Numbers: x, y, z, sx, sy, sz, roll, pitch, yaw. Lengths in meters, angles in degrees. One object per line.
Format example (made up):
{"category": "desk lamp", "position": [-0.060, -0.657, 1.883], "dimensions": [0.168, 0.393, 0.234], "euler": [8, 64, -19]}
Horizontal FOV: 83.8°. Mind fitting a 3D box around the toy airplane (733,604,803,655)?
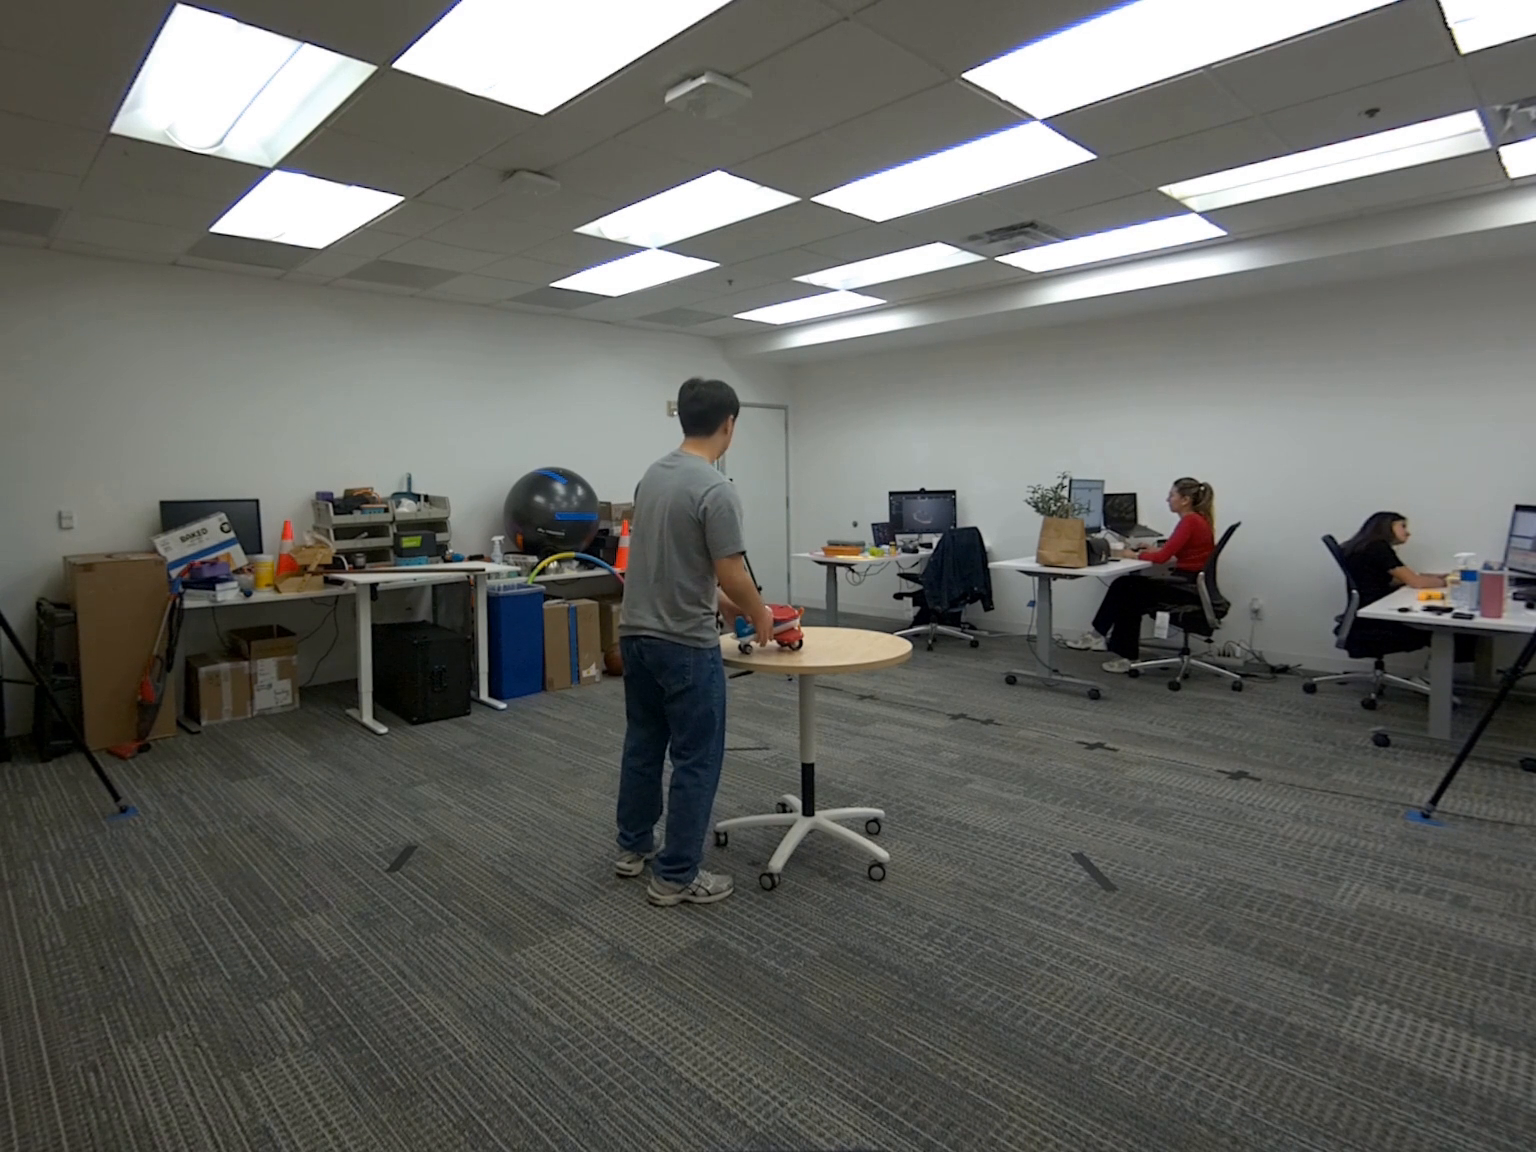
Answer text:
{"category": "toy airplane", "position": [0.012, 0.191, 3.030], "dimensions": [0.258, 0.156, 0.252], "euler": [3, 6, 37]}
